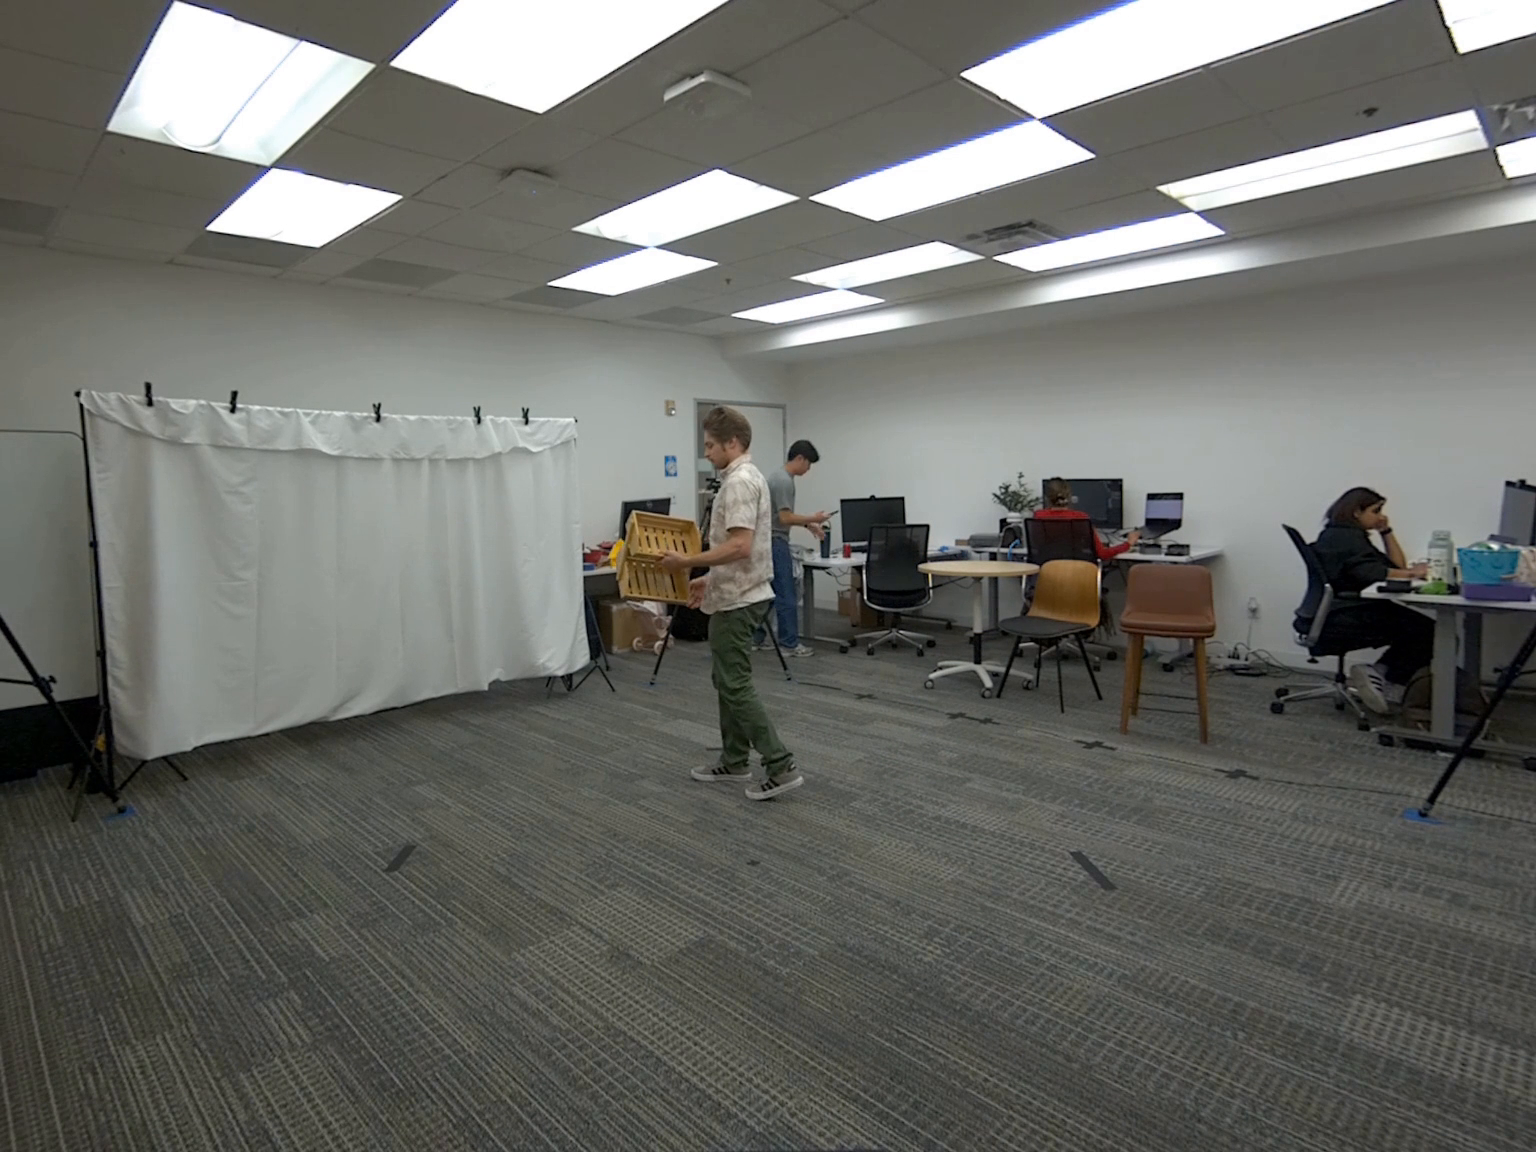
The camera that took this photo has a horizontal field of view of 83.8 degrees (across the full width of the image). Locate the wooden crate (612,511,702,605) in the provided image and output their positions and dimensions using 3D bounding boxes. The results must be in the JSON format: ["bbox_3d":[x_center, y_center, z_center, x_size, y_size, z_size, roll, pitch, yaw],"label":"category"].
[{"bbox_3d":[-0.469,-0.073,3.738,0.316,0.271,0.312,8,44,-27],"label":"wooden crate"}]
